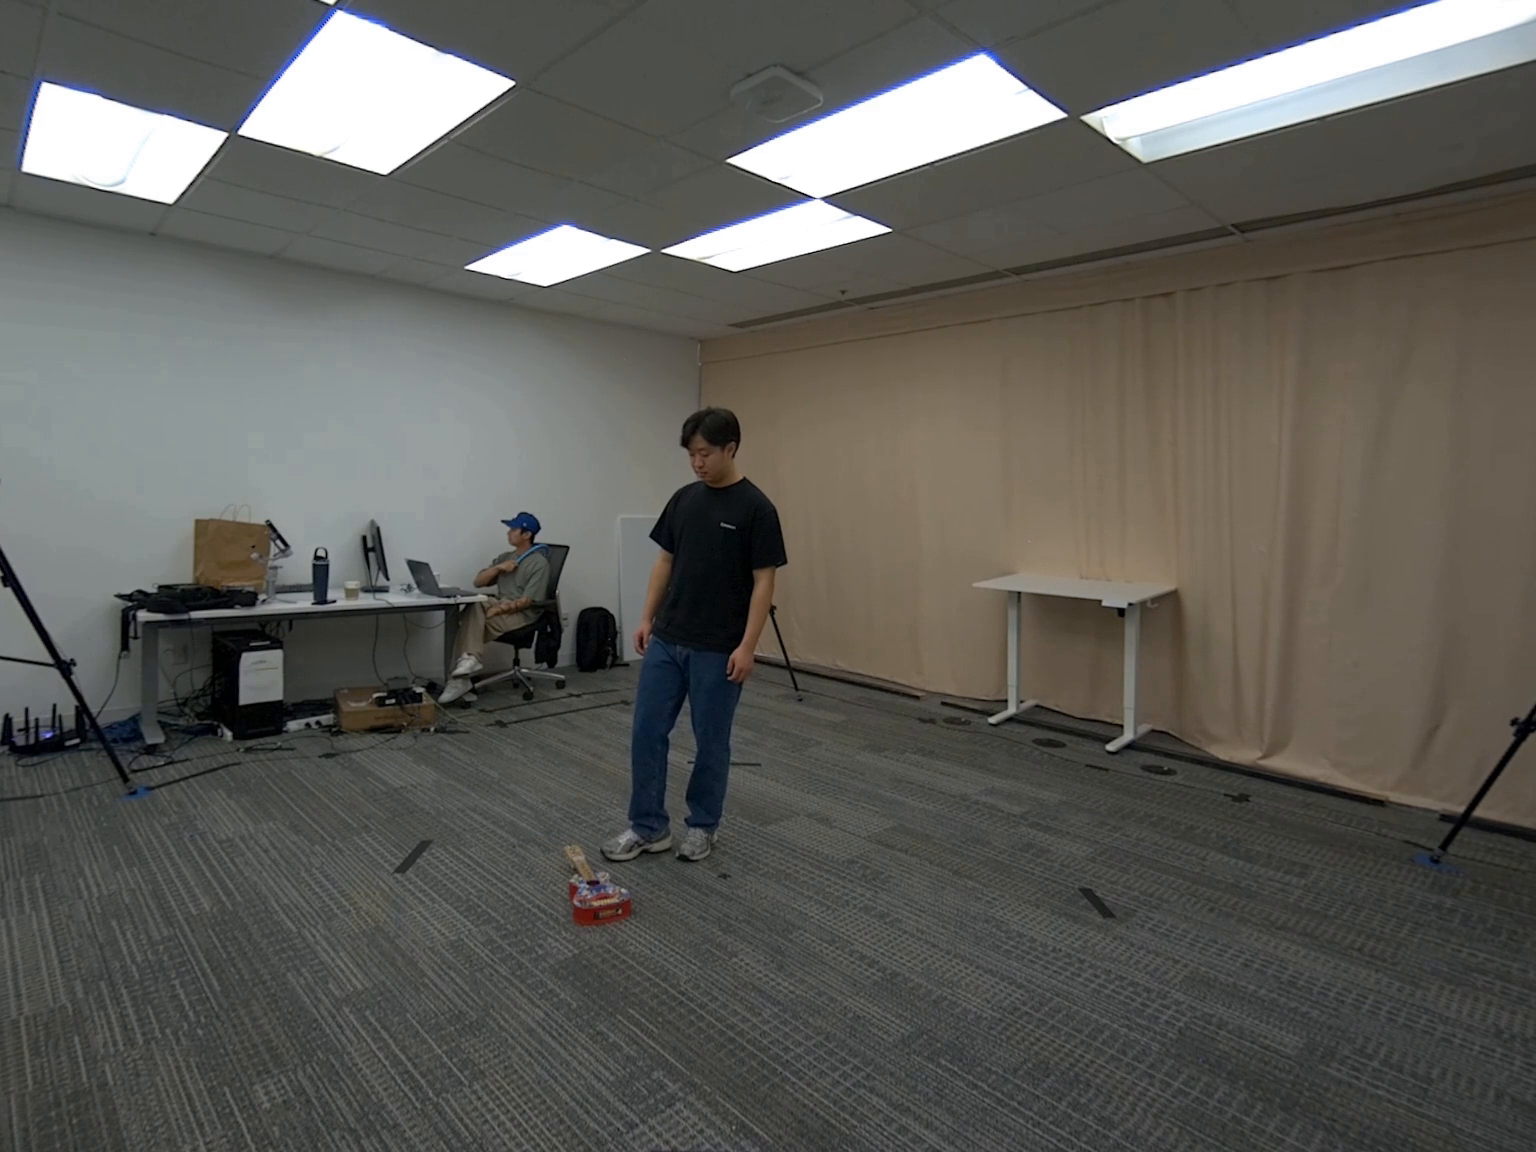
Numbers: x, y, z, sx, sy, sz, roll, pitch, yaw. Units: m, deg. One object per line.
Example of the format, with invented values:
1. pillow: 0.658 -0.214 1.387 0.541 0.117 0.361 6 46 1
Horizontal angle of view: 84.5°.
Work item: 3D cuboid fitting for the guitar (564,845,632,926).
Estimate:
1. guitar: -0.616 1.077 2.967 0.190 0.070 0.506 -1 6 -18
